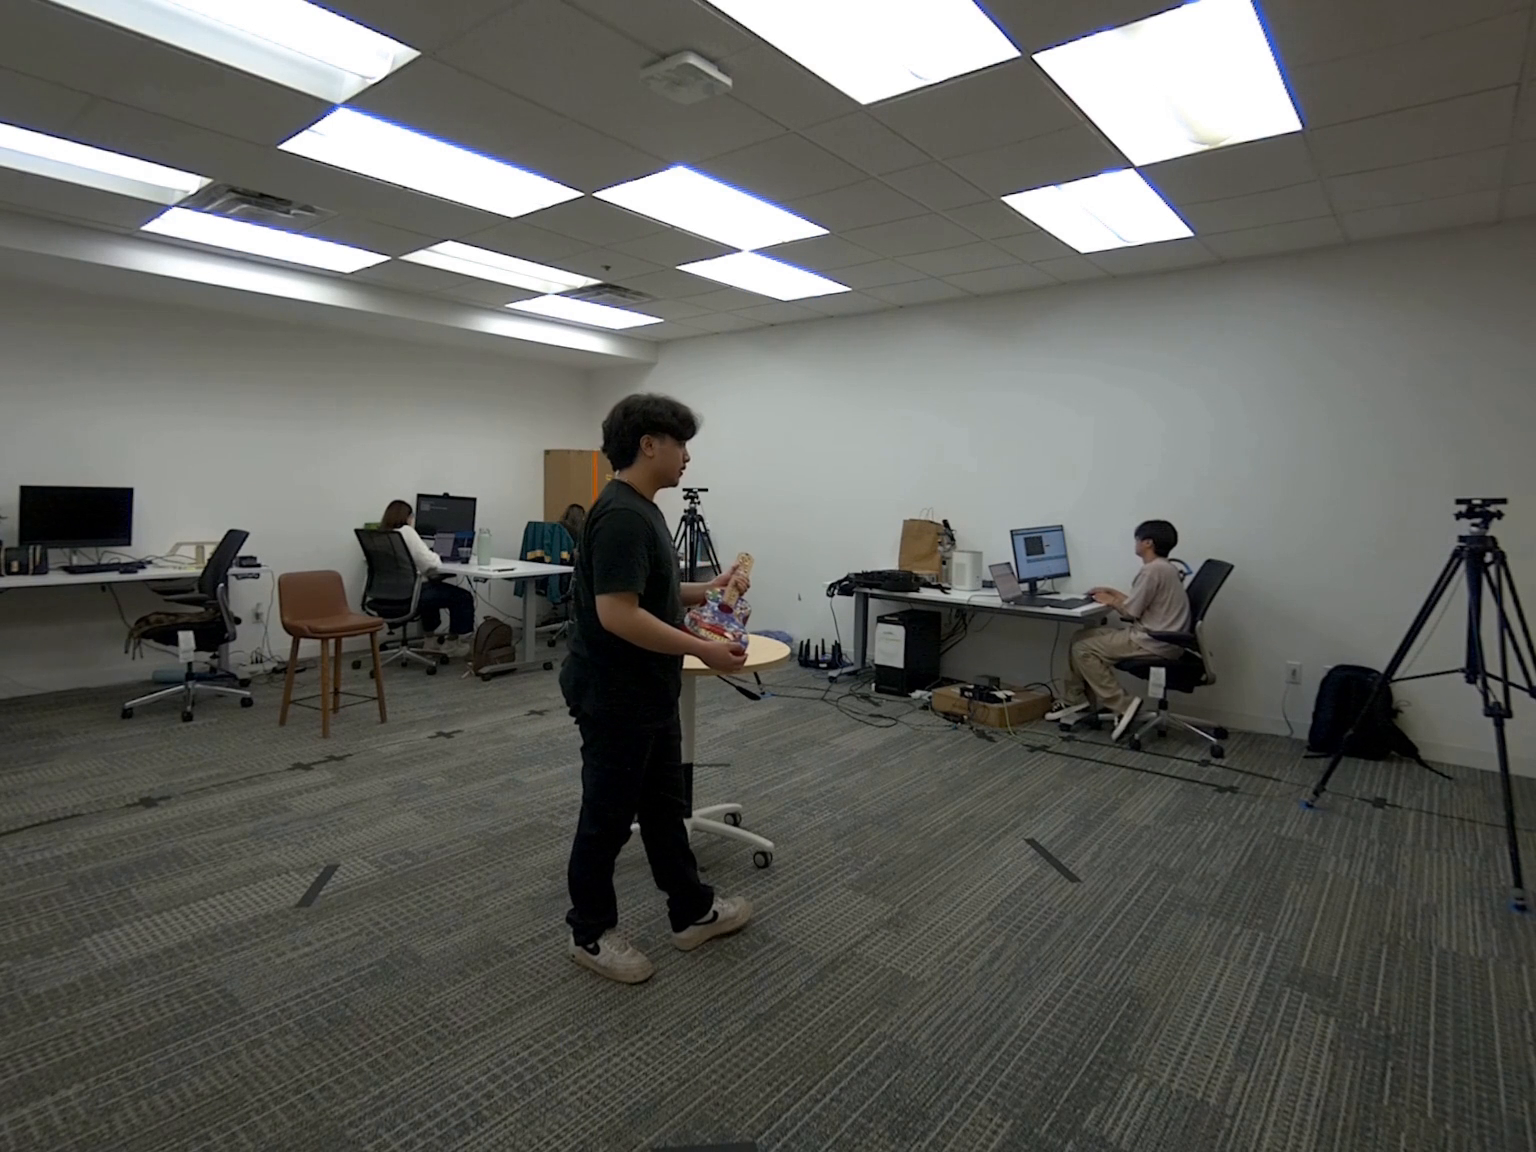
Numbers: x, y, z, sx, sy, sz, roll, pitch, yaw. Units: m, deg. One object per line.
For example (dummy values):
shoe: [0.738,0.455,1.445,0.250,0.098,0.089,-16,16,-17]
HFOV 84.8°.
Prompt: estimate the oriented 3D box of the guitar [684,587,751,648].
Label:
guitar: [-0.101,0.086,2.530,0.195,0.070,0.498,27,32,7]
